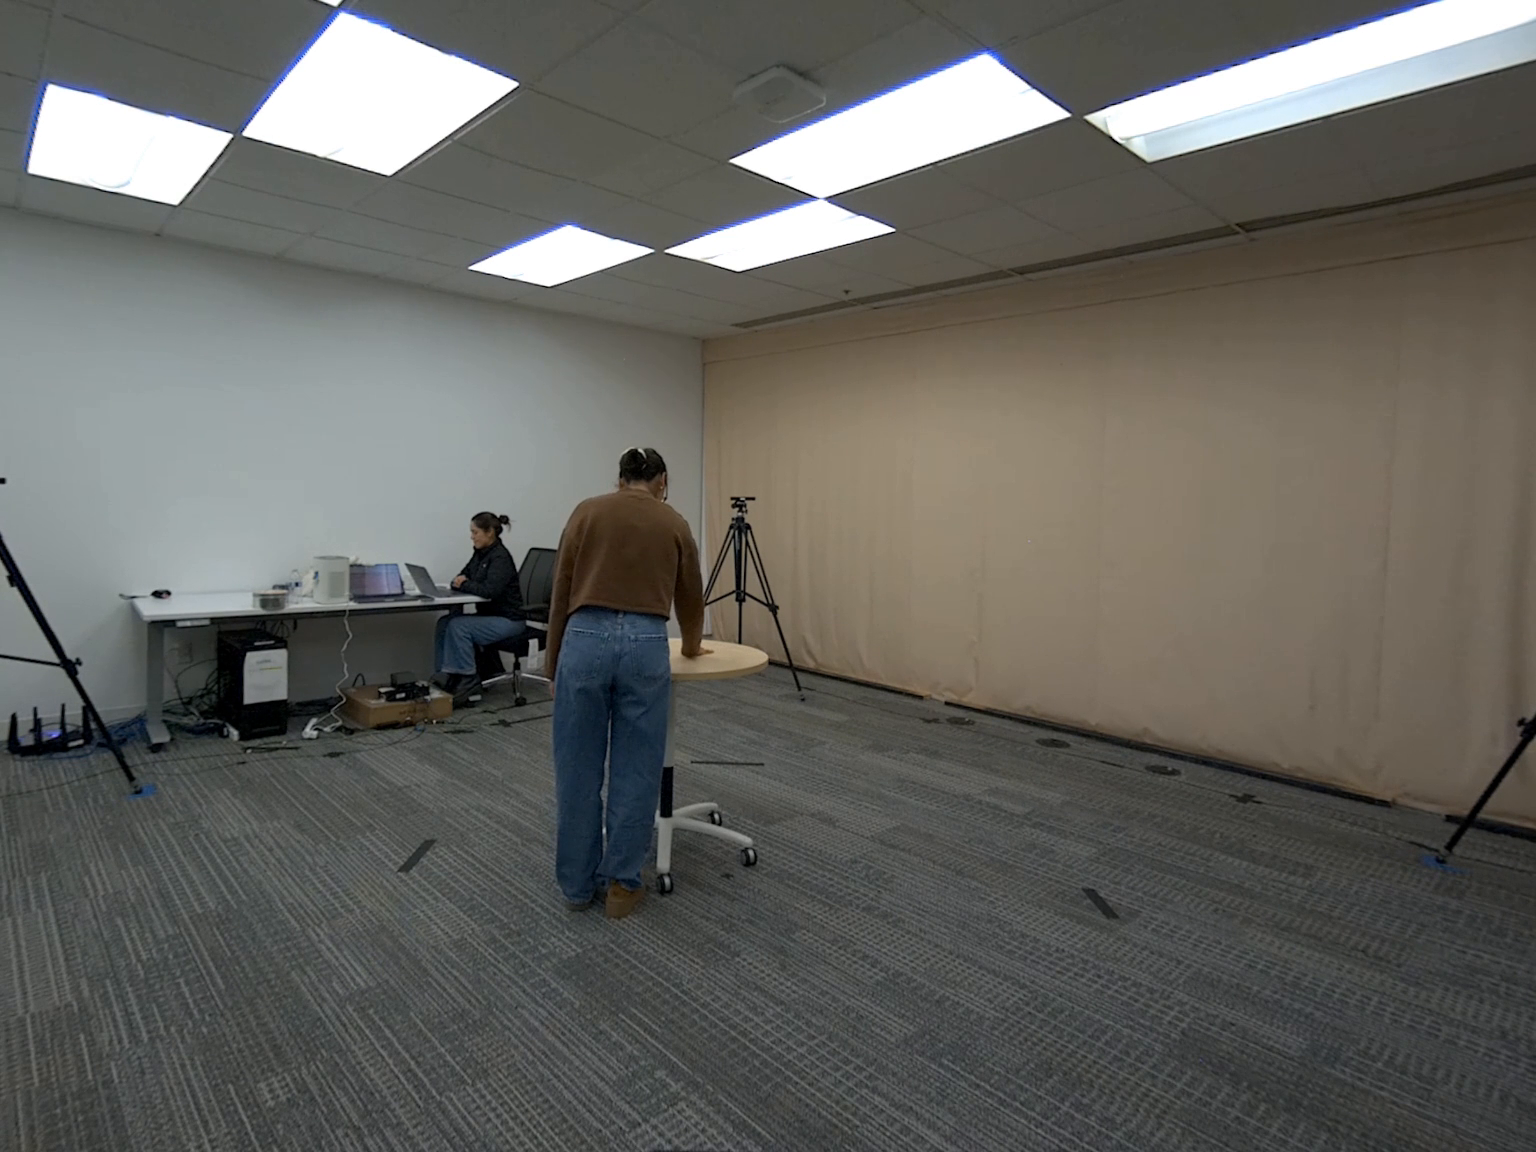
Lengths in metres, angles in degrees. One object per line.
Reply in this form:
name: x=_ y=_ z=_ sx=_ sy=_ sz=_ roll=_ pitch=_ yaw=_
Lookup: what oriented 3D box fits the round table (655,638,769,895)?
round table: x=-0.400 y=0.698 z=3.295 sx=0.763 sy=0.792 sz=0.766 roll=1 pitch=3 yaw=-1
